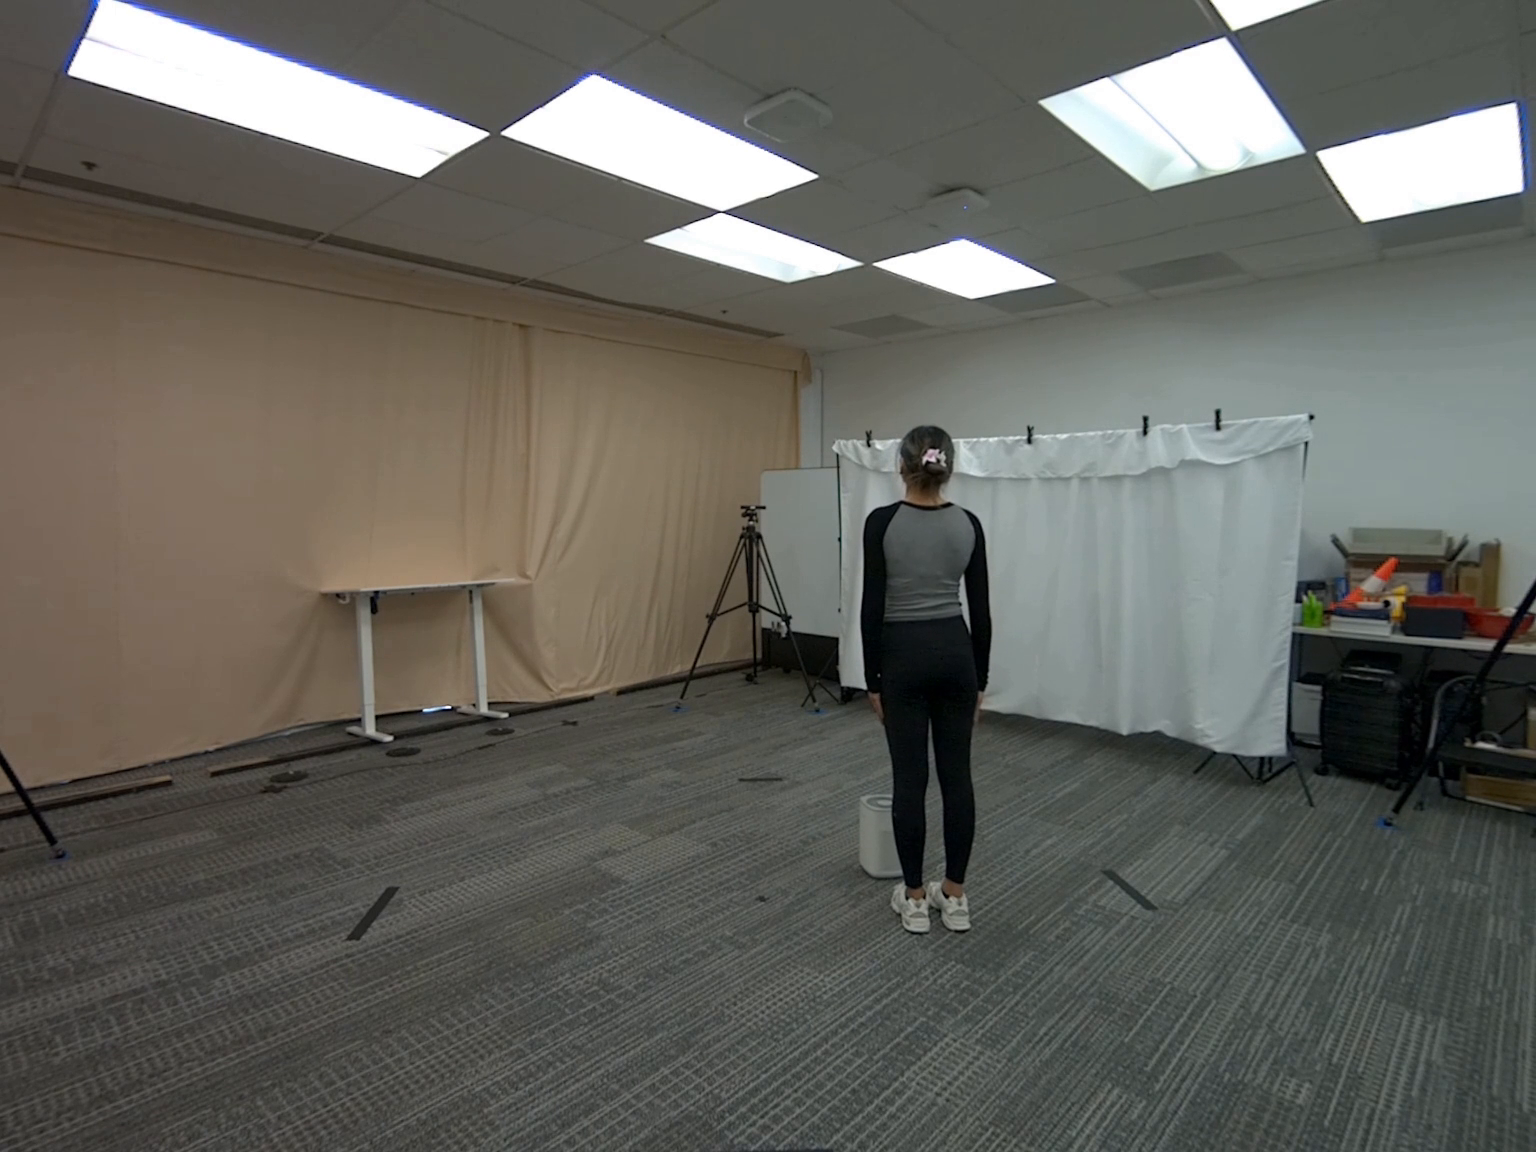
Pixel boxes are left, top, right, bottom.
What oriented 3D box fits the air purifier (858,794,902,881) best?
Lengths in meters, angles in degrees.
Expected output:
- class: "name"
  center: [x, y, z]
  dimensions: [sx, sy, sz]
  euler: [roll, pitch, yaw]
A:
- class: "air purifier"
  center: [0.450, 0.989, 3.195]
  dimensions: [0.169, 0.265, 0.173]
  euler: [0, 2, -13]
